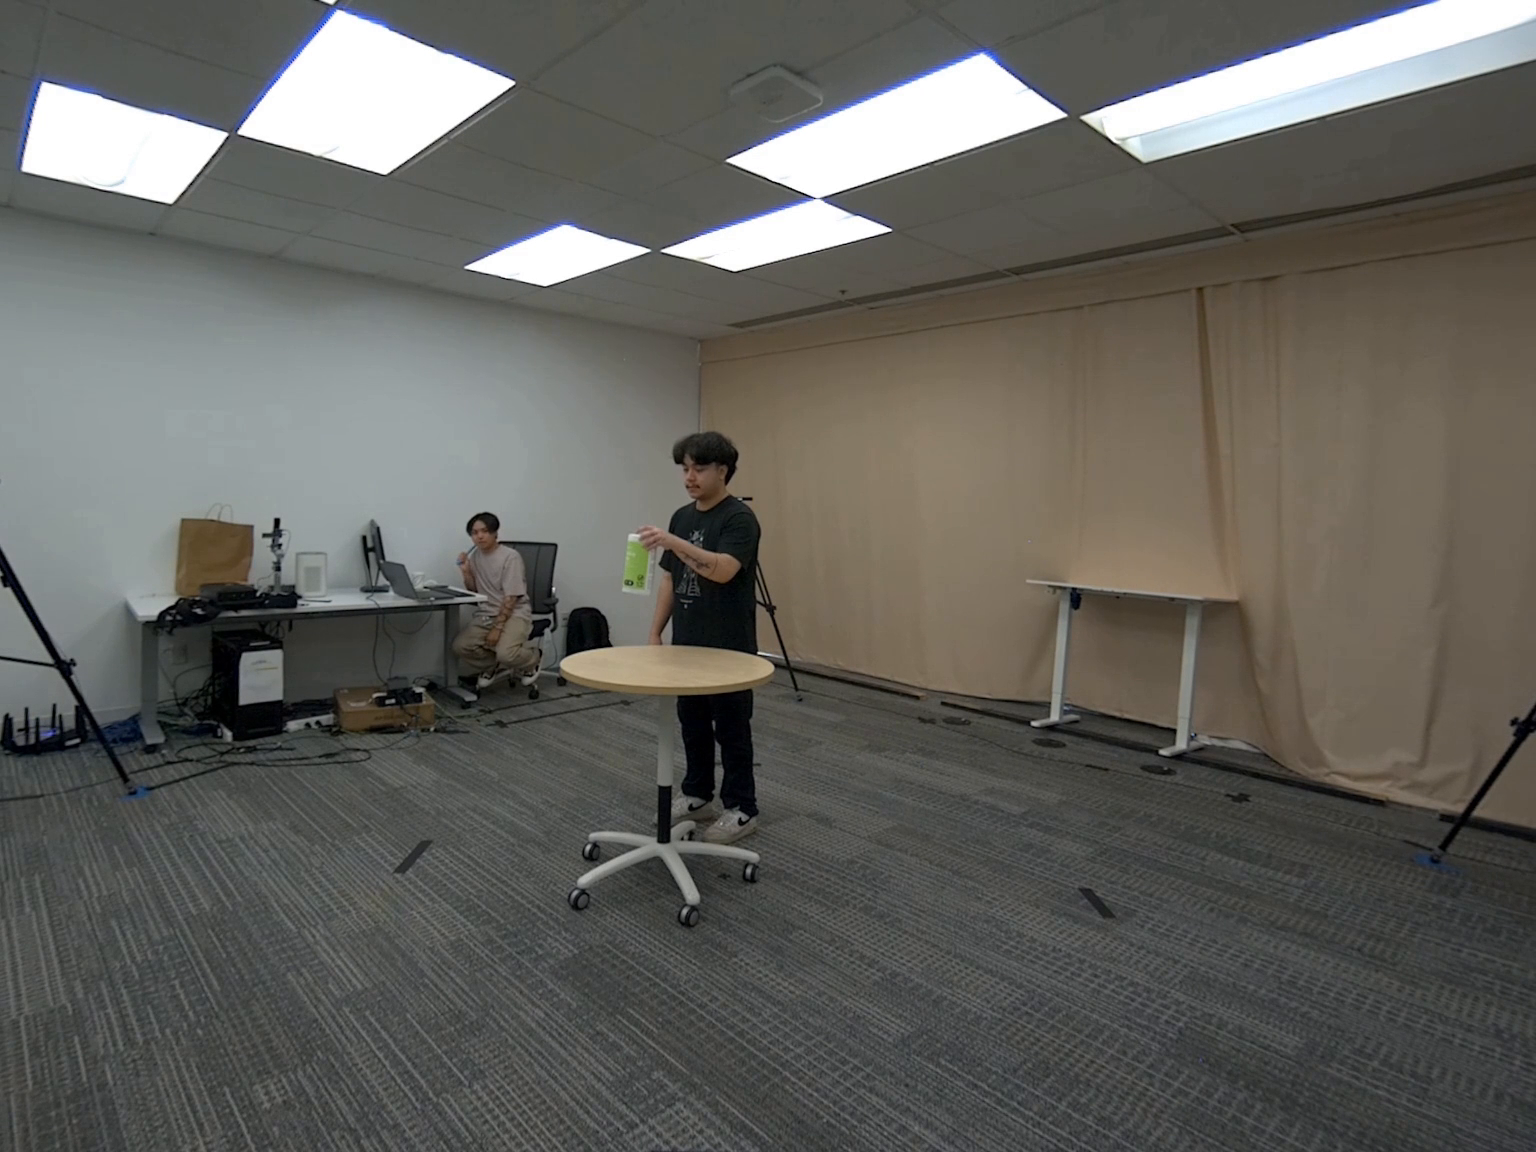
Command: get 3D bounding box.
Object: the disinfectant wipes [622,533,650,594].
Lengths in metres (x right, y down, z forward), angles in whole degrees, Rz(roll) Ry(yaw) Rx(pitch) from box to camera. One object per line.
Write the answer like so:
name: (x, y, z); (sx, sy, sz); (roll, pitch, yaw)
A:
disinfectant wipes: (-0.473, -0.032, 3.048); (0.118, 0.217, 0.118); (6, 0, -1)
